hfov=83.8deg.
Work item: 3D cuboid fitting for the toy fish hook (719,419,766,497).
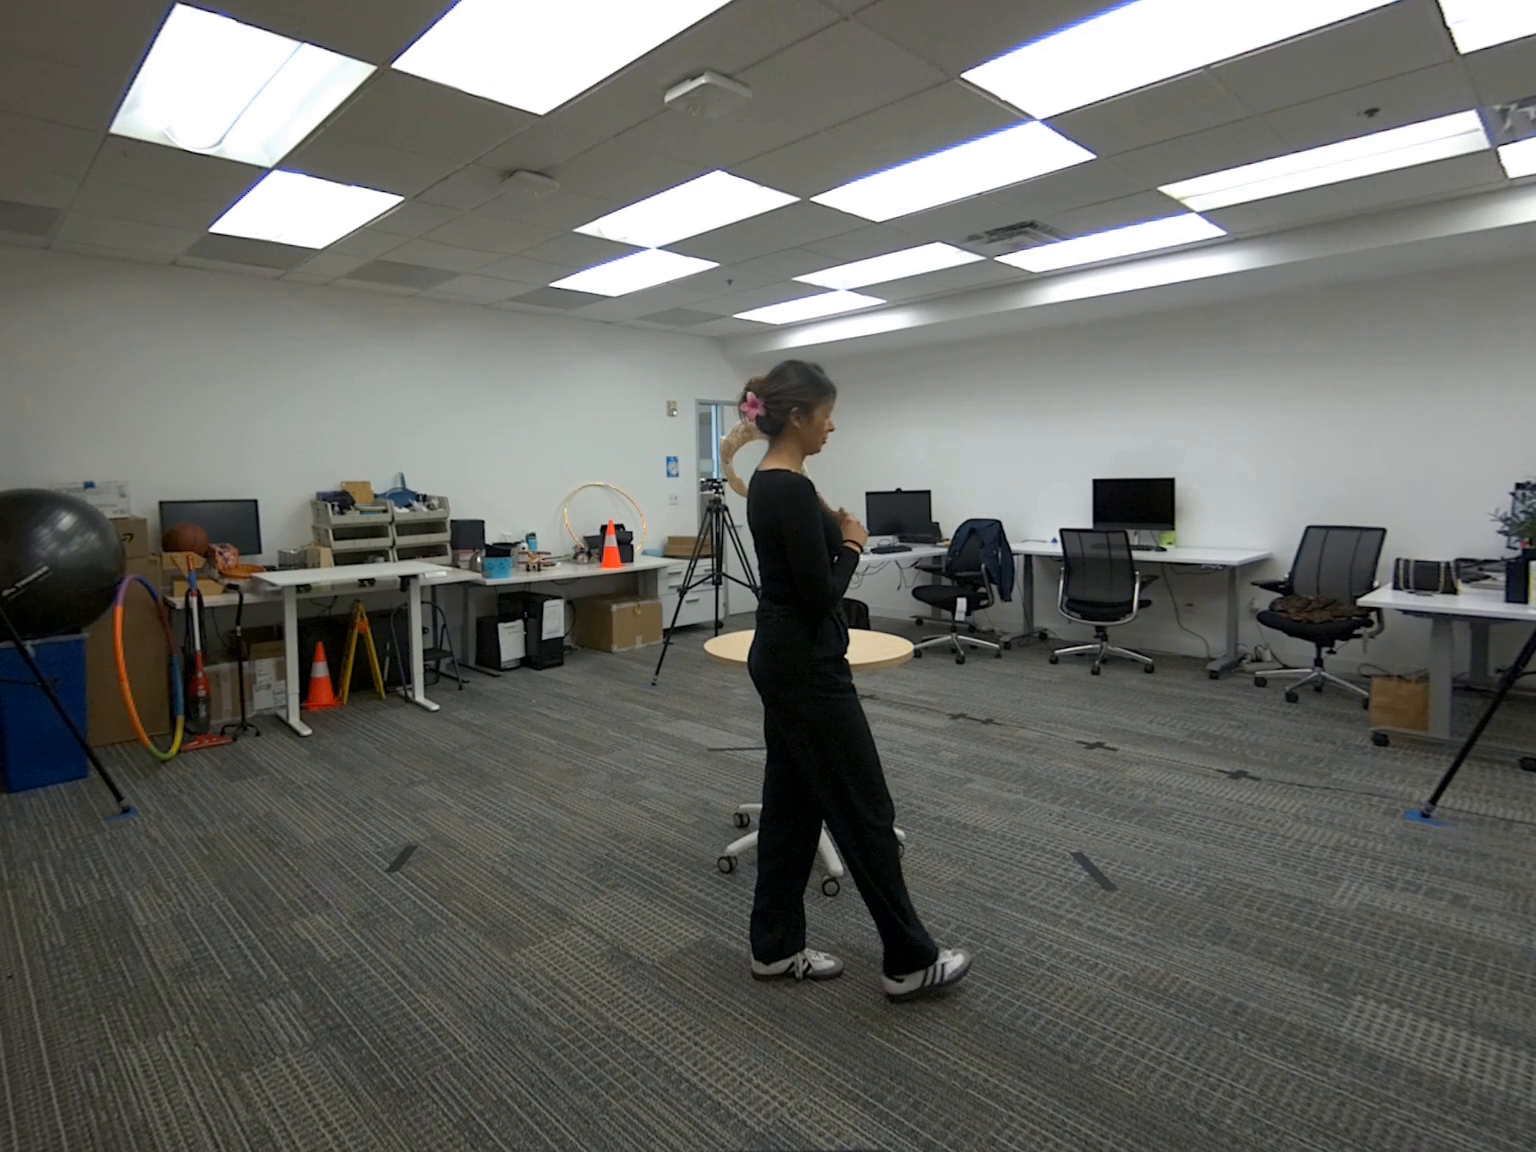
[{"bbox_3d":[0.083,-0.239,2.445,0.224,0.511,0.048,-40,-7,2],"label":"toy fish hook"}]
